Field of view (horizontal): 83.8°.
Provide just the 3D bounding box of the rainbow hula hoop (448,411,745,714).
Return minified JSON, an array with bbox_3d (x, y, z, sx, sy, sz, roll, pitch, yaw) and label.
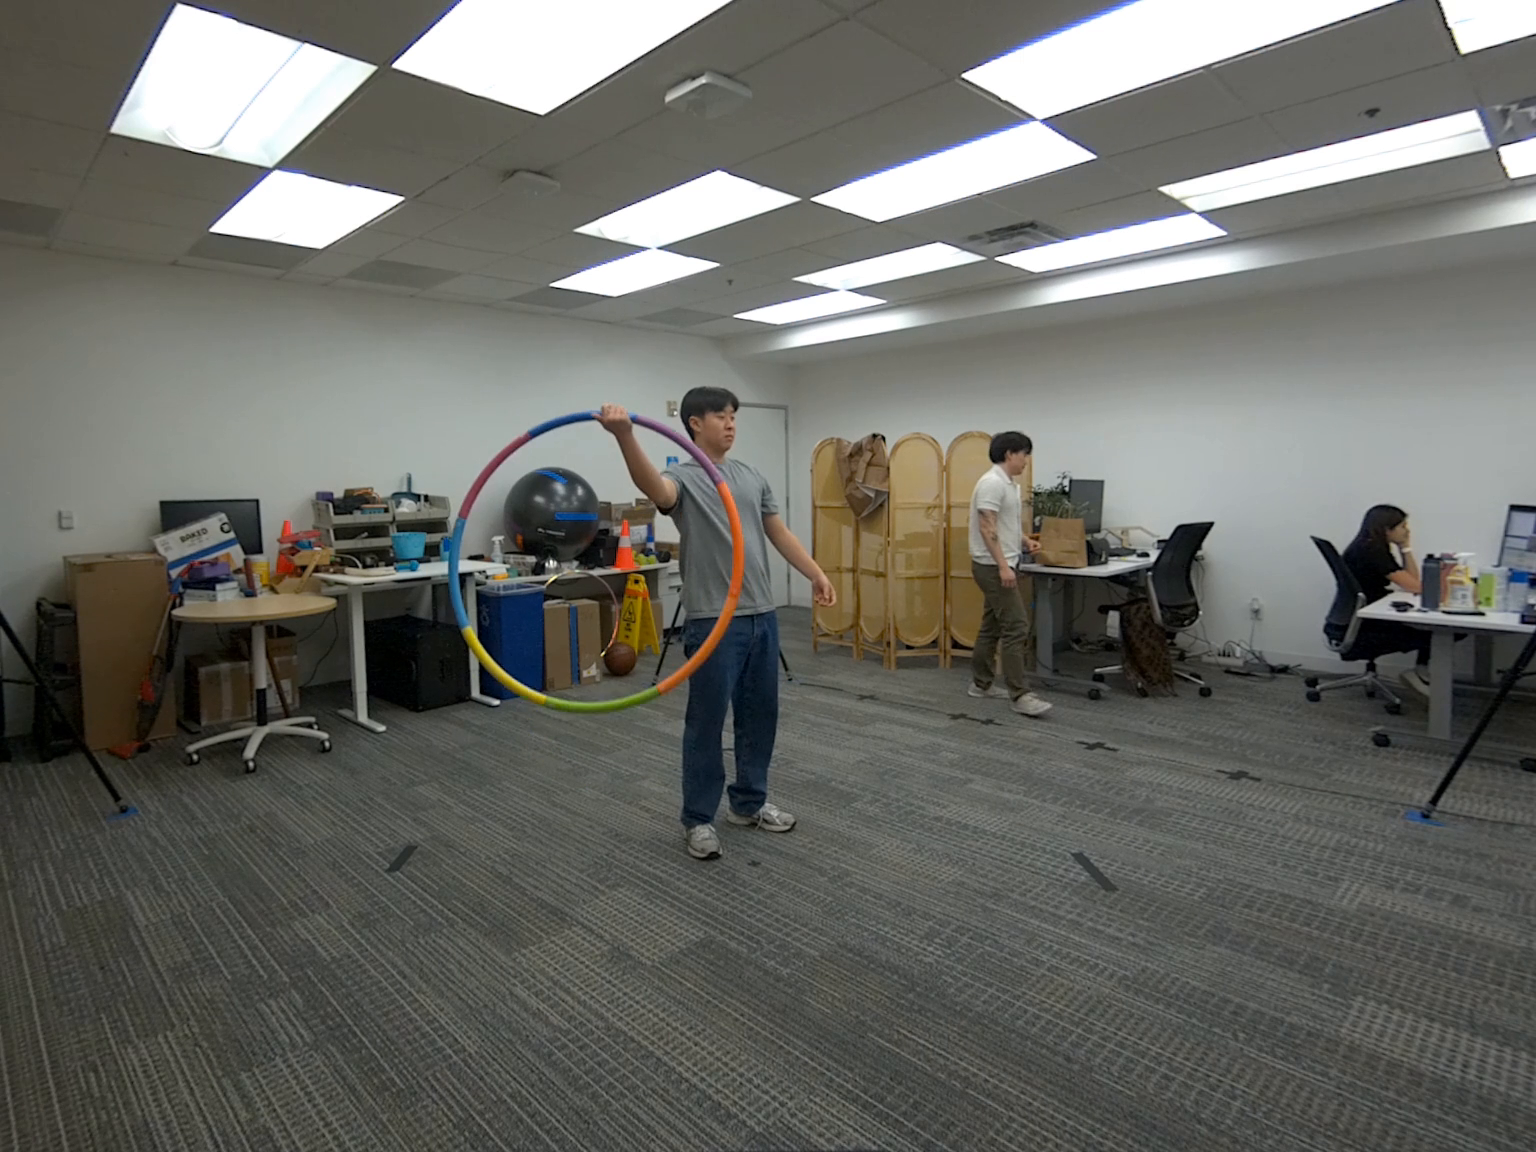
[{"bbox_3d":[-0.559,-0.054,2.763,0.986,0.986,0.035,-1,-9,8],"label":"rainbow hula hoop"}]
